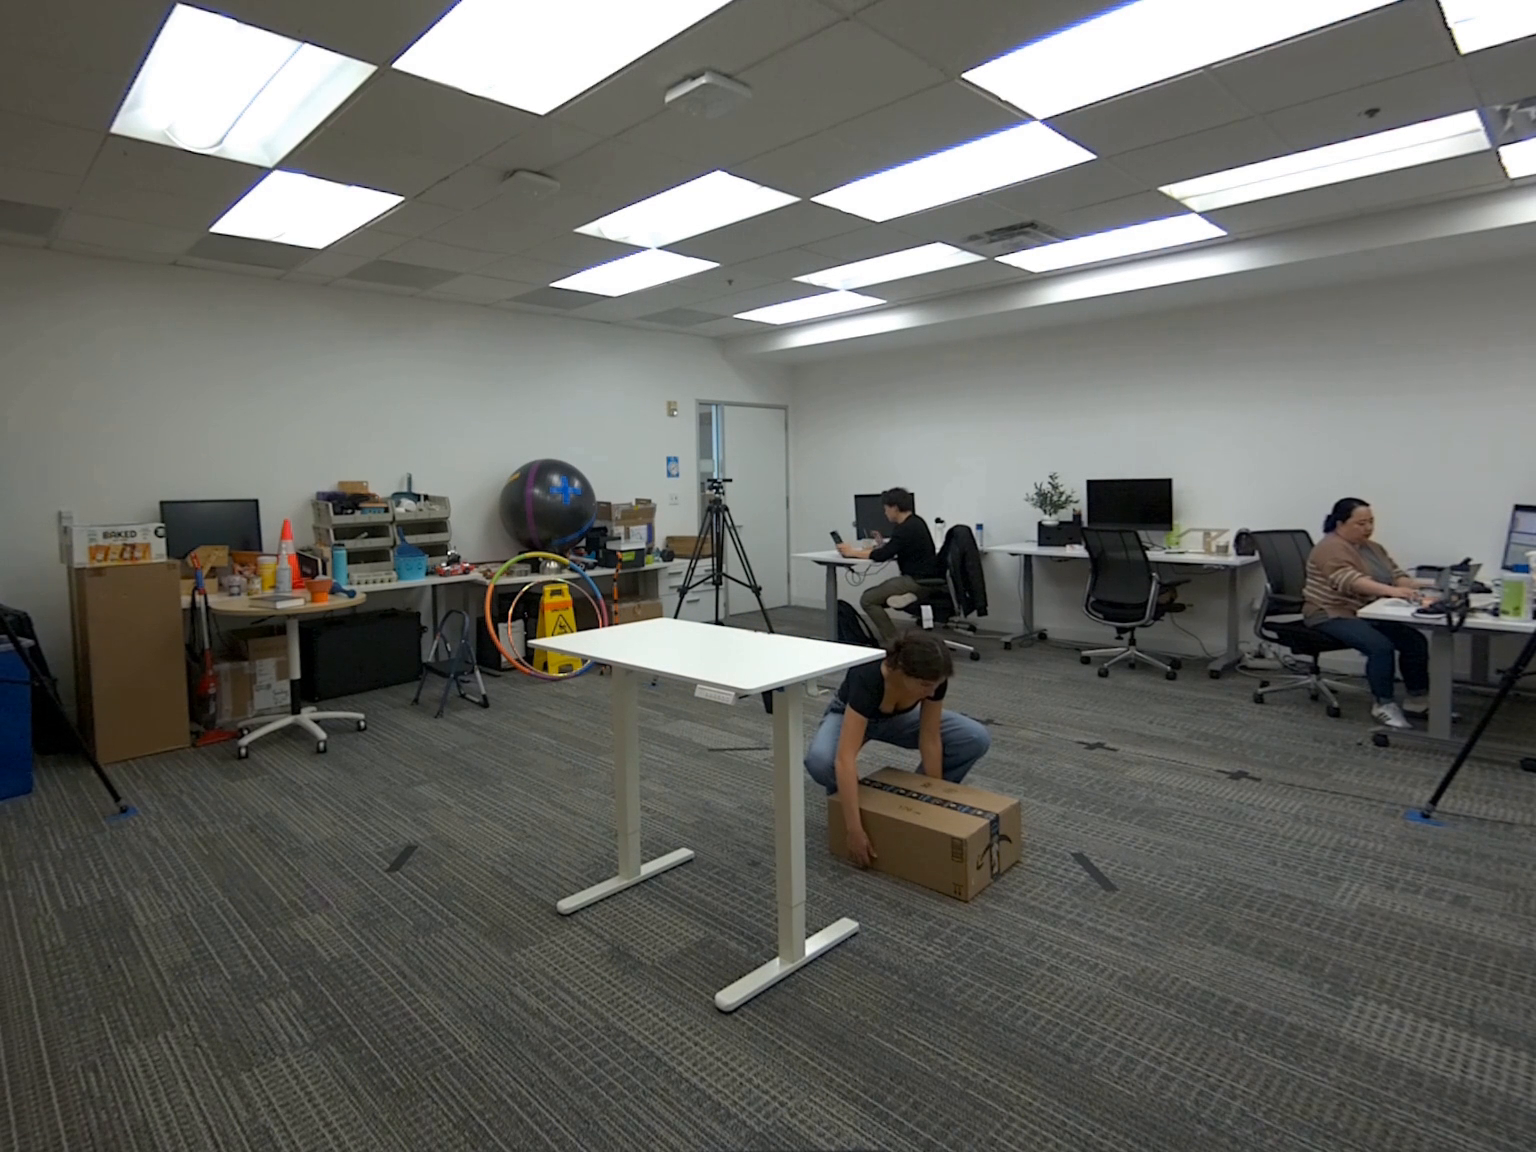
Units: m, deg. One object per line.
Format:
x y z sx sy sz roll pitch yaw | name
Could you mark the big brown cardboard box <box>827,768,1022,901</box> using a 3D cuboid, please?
0.573 0.923 3.125 0.607 0.232 0.407 5 9 43 | big brown cardboard box
